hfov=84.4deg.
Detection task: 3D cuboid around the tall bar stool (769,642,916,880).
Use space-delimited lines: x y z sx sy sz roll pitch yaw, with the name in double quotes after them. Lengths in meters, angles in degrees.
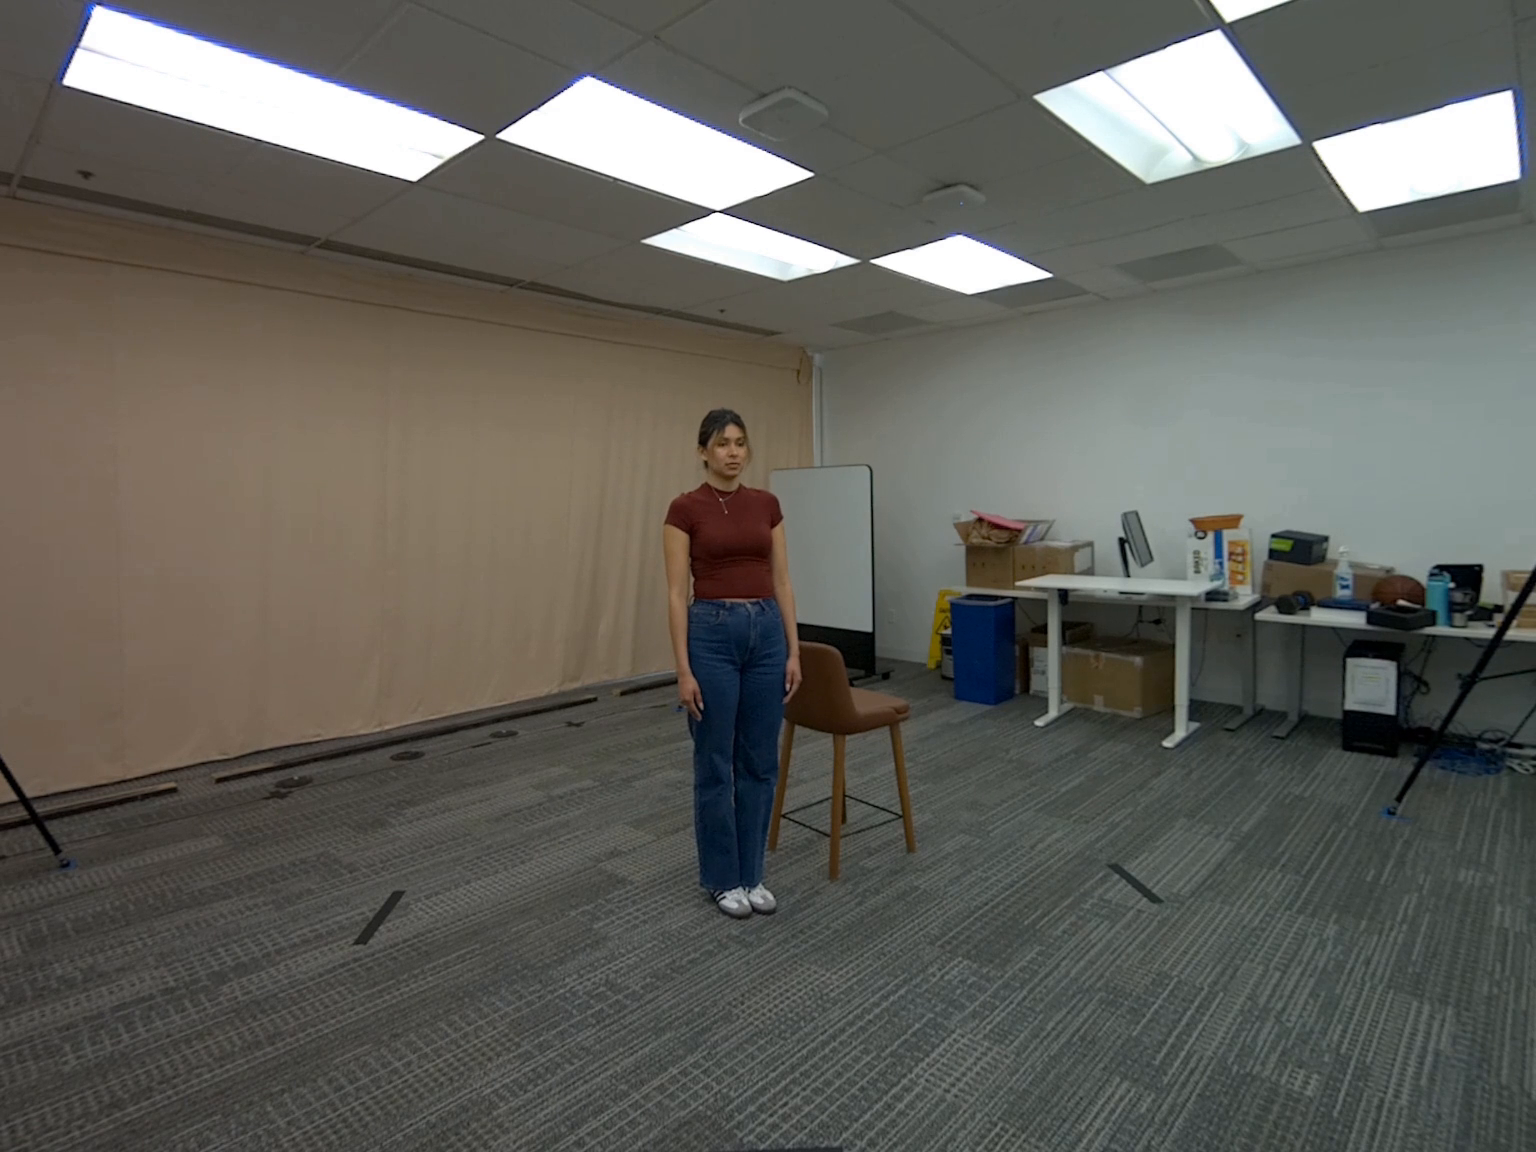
0.282 0.666 3.357 0.454 0.887 0.471 -6 6 -38 "tall bar stool"
